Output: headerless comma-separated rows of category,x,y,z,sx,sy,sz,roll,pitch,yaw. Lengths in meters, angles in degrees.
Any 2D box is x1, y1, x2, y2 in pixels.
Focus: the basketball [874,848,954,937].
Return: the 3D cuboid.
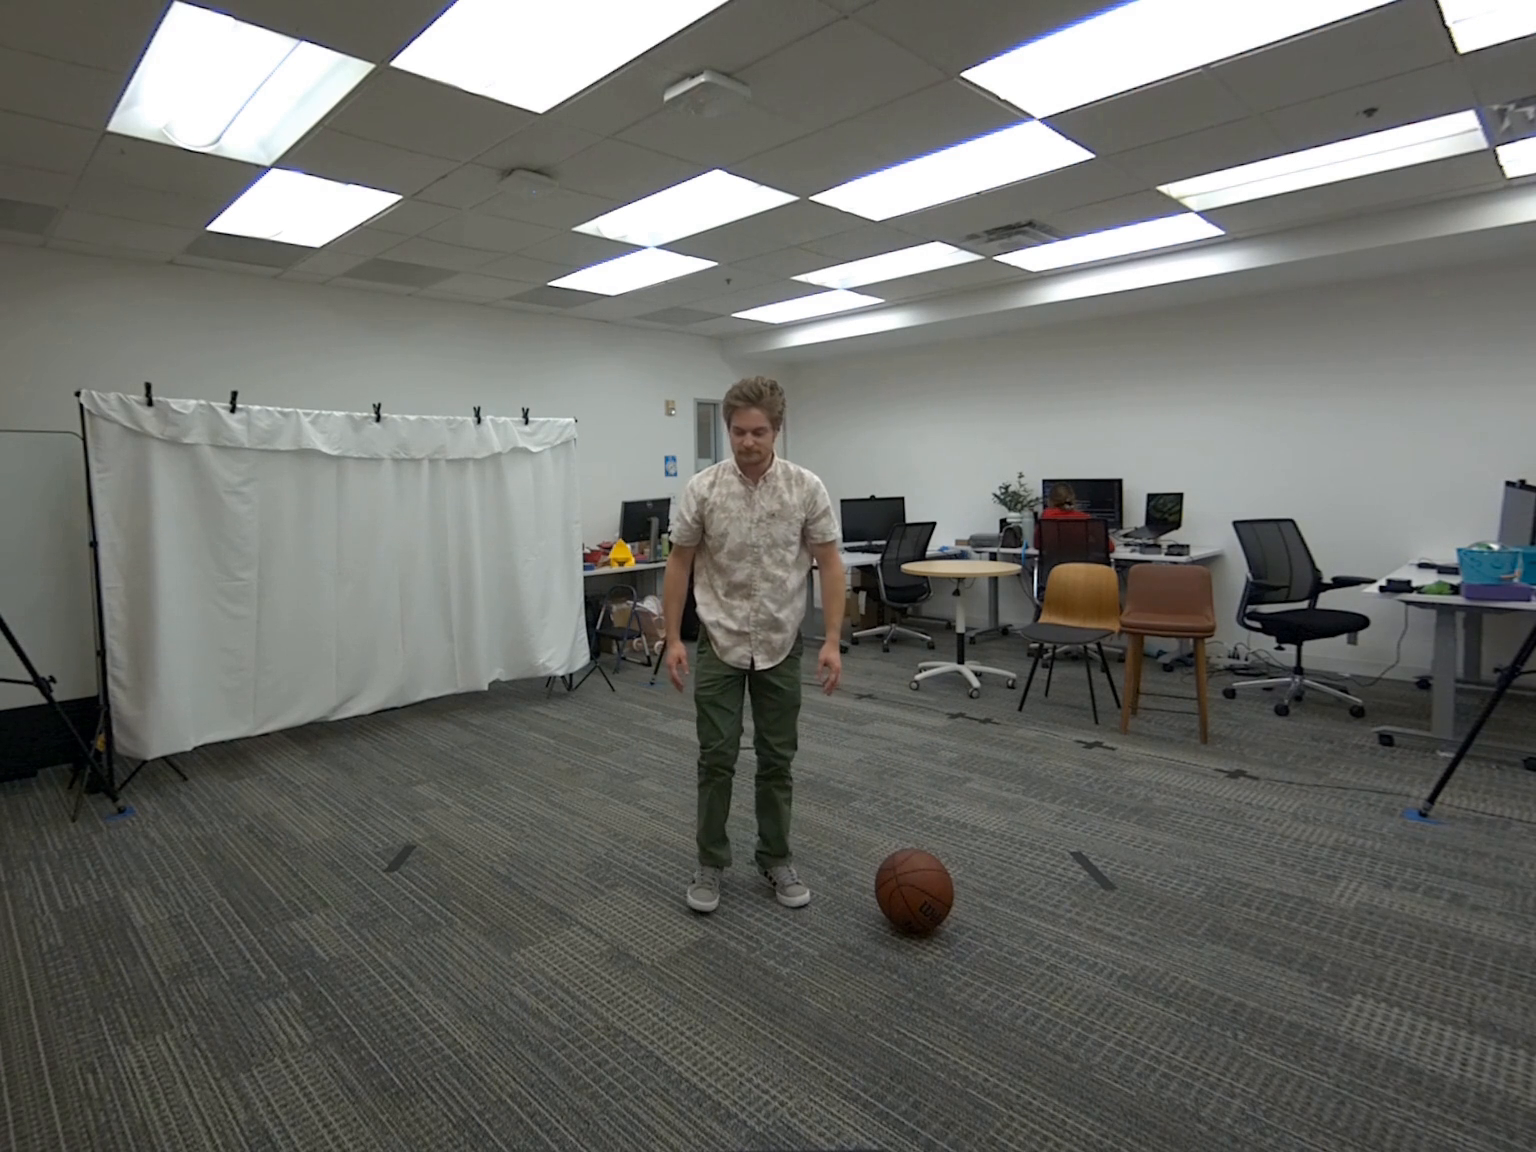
basketball,0.461,0.967,2.637,0.236,0.235,0.237,-1,5,-2
